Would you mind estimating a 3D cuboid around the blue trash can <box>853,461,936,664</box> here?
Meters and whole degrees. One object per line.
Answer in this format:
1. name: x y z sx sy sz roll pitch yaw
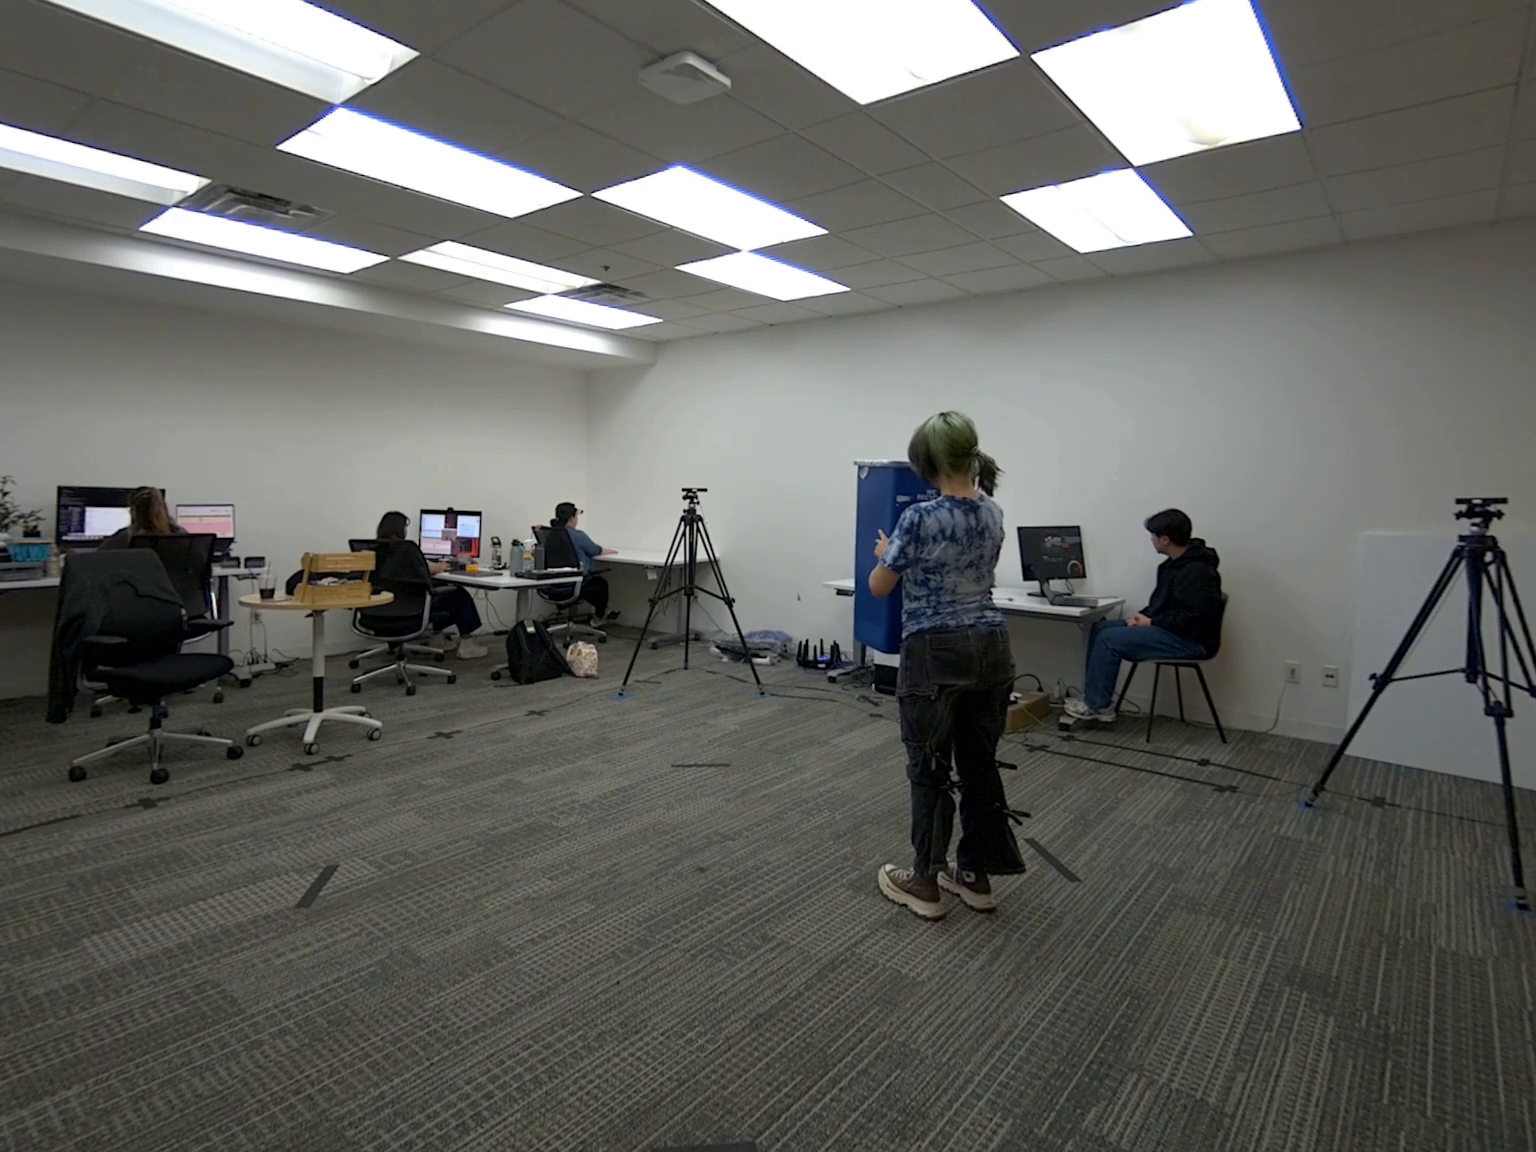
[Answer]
1. blue trash can: 0.545 -0.090 3.285 0.369 0.710 0.385 0 5 -15
